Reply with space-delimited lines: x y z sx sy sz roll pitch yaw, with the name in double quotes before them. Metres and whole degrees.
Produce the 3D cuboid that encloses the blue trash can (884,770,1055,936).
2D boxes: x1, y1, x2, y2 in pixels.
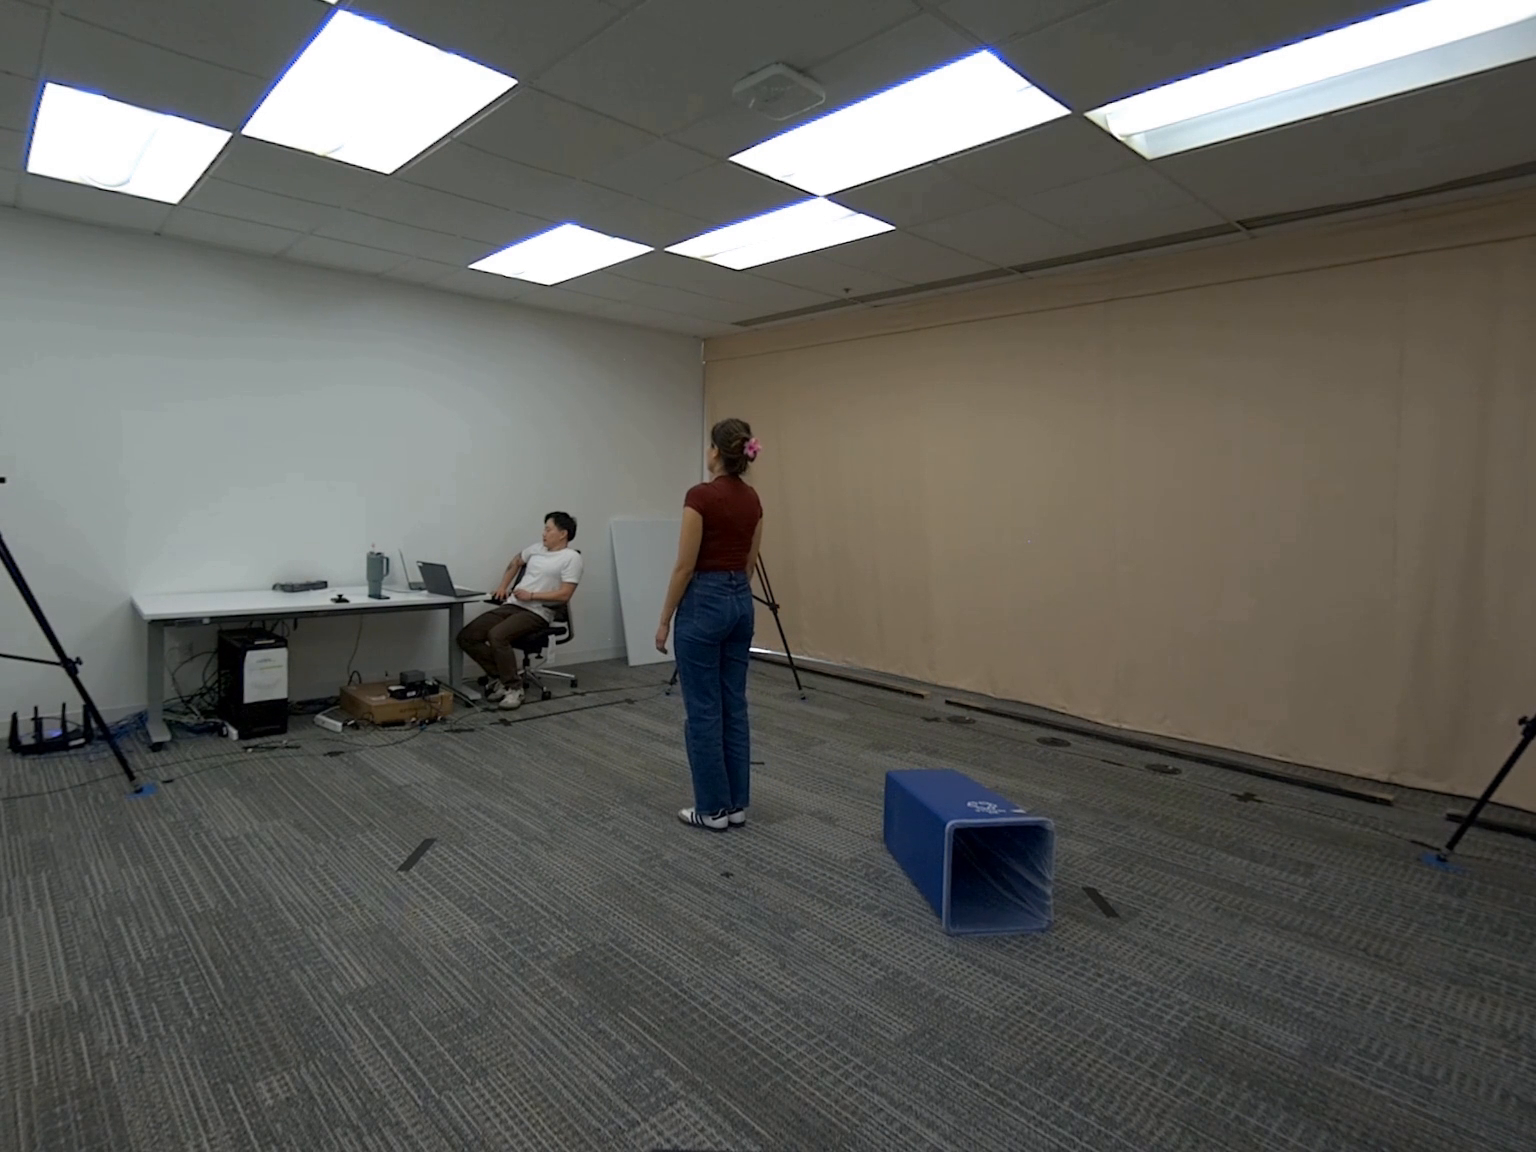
"blue trash can" 0.673 0.958 3.064 0.371 0.378 0.720 1 2 -11
